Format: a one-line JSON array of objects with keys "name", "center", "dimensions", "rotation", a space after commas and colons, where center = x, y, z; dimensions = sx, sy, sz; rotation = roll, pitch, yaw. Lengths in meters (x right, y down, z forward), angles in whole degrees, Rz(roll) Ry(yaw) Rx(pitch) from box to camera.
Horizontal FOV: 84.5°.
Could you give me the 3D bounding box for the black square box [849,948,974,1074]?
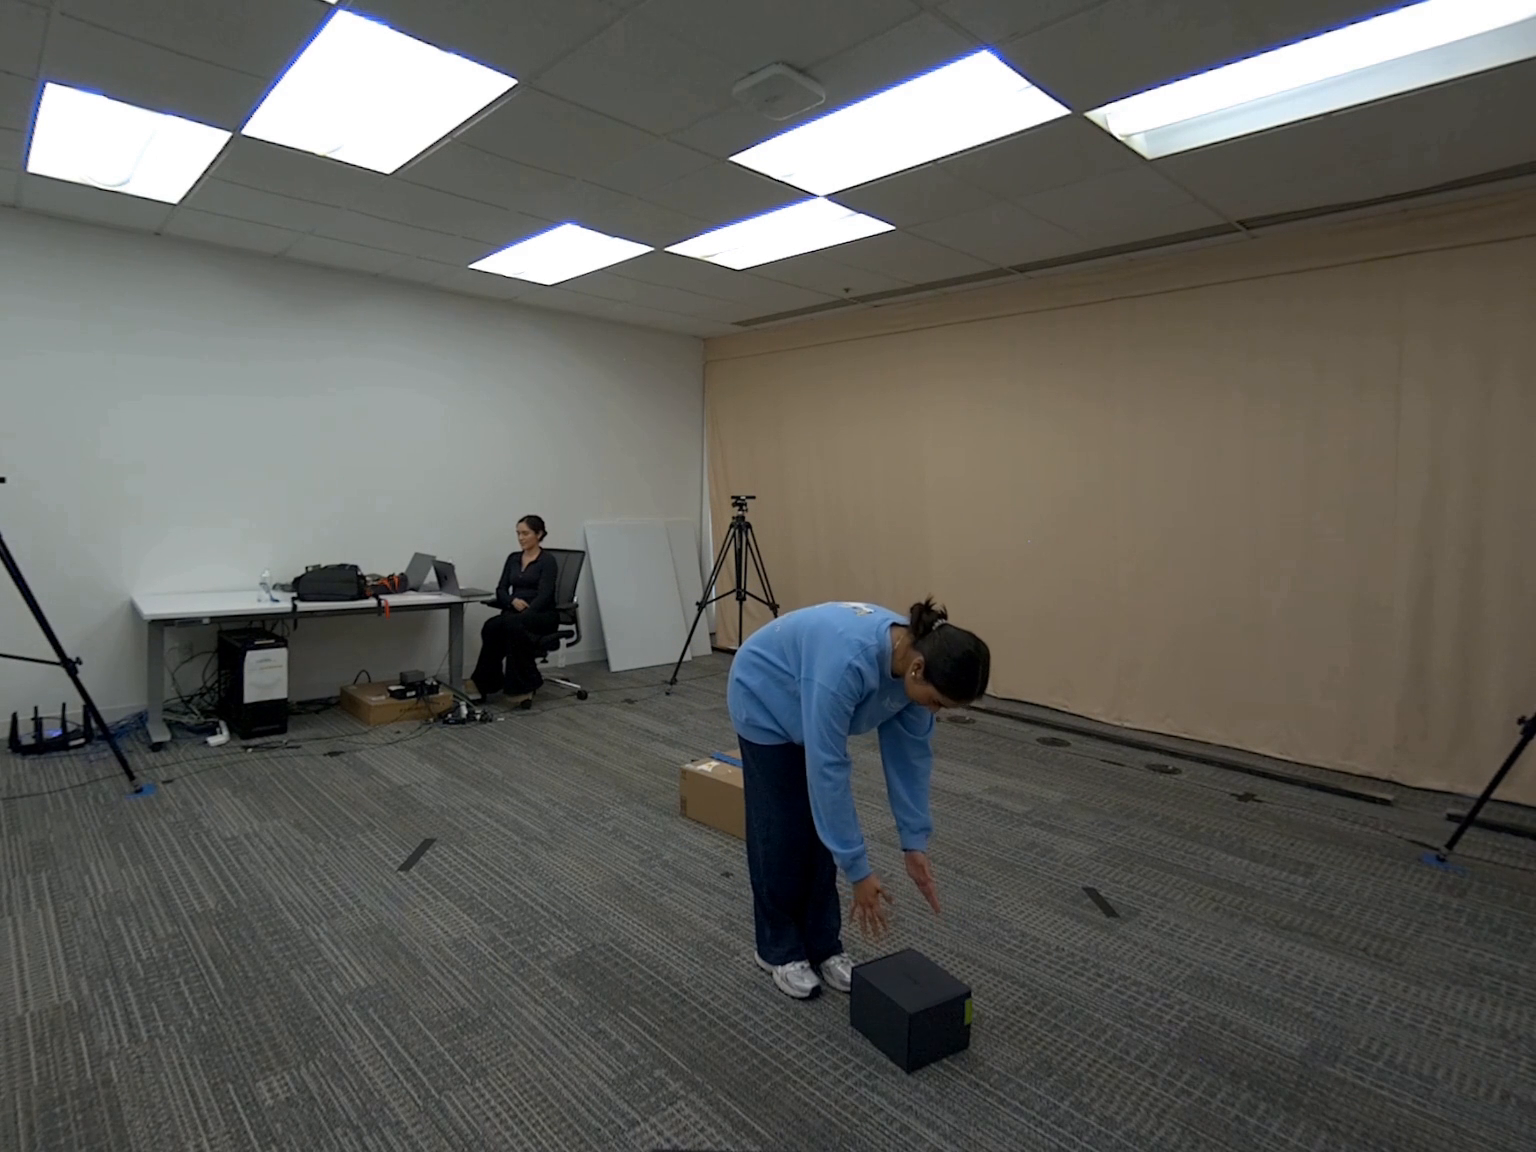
[{"name": "black square box", "center": [0.361, 1.121, 2.183], "dimensions": [0.212, 0.155, 0.233], "rotation": [0, 5, -33]}]
